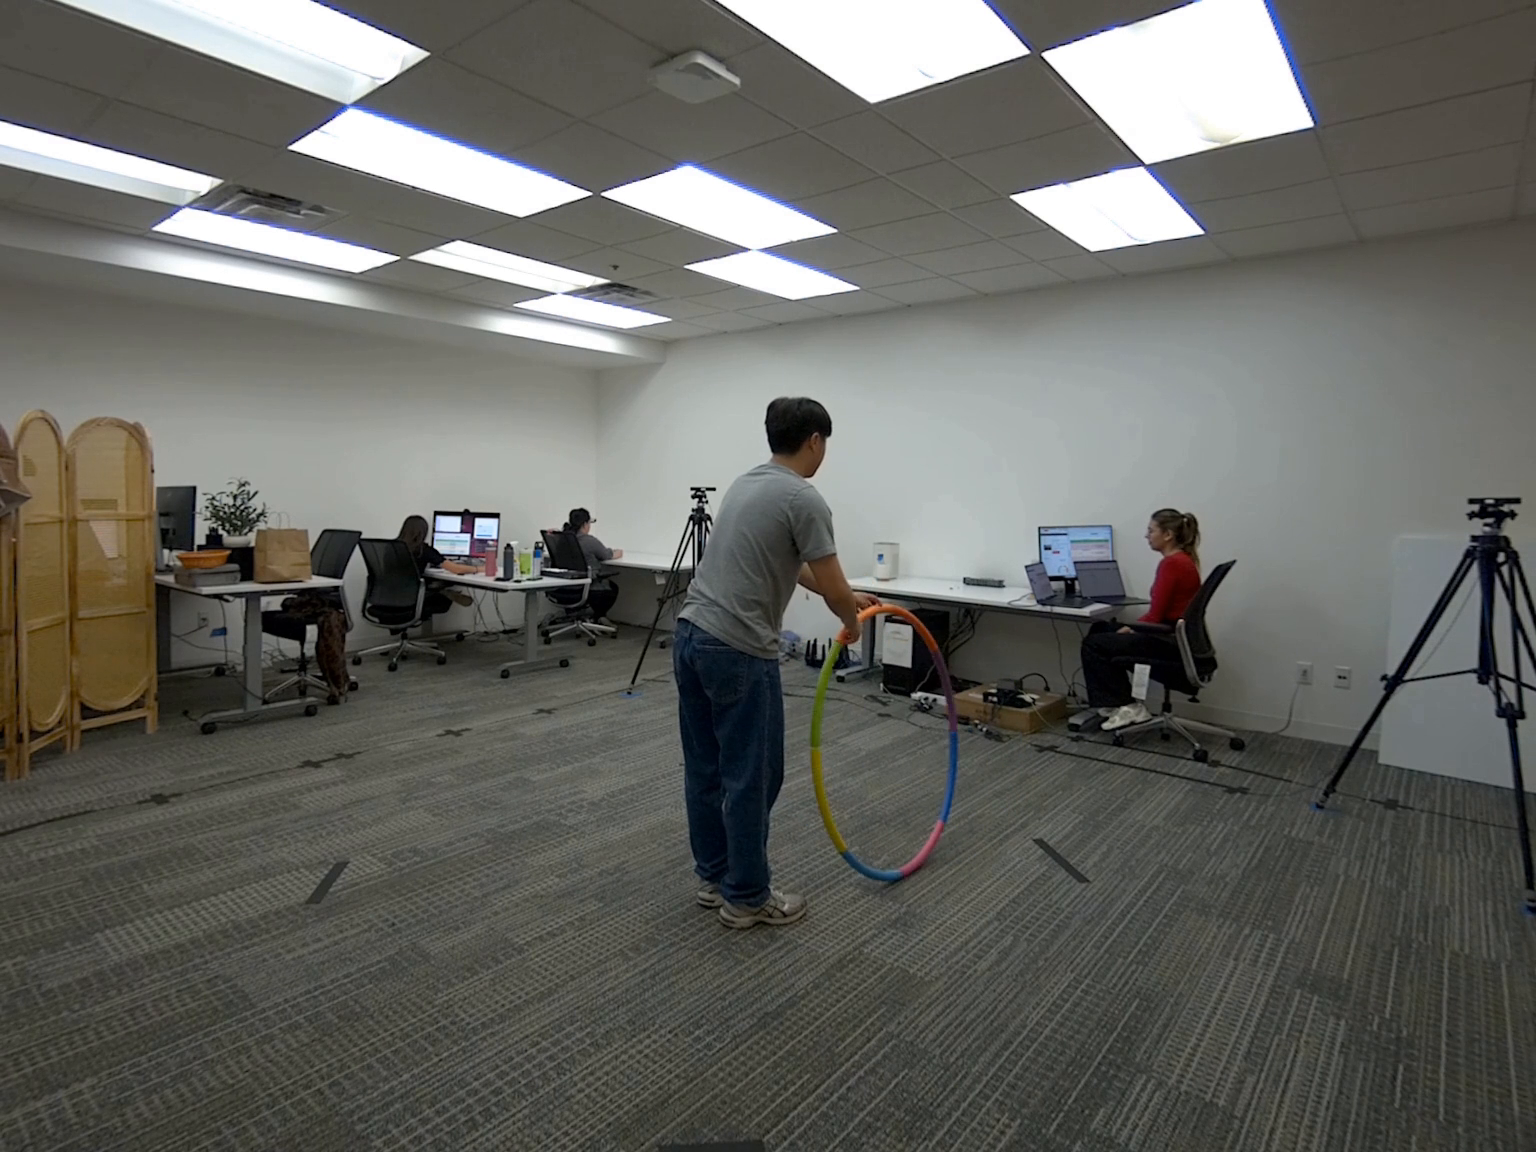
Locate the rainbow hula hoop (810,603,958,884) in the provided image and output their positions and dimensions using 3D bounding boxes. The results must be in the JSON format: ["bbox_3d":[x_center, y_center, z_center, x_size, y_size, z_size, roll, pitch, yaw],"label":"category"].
[{"bbox_3d":[0.454,0.597,3.123,0.036,0.982,0.950,-10,-4,40],"label":"rainbow hula hoop"}]
